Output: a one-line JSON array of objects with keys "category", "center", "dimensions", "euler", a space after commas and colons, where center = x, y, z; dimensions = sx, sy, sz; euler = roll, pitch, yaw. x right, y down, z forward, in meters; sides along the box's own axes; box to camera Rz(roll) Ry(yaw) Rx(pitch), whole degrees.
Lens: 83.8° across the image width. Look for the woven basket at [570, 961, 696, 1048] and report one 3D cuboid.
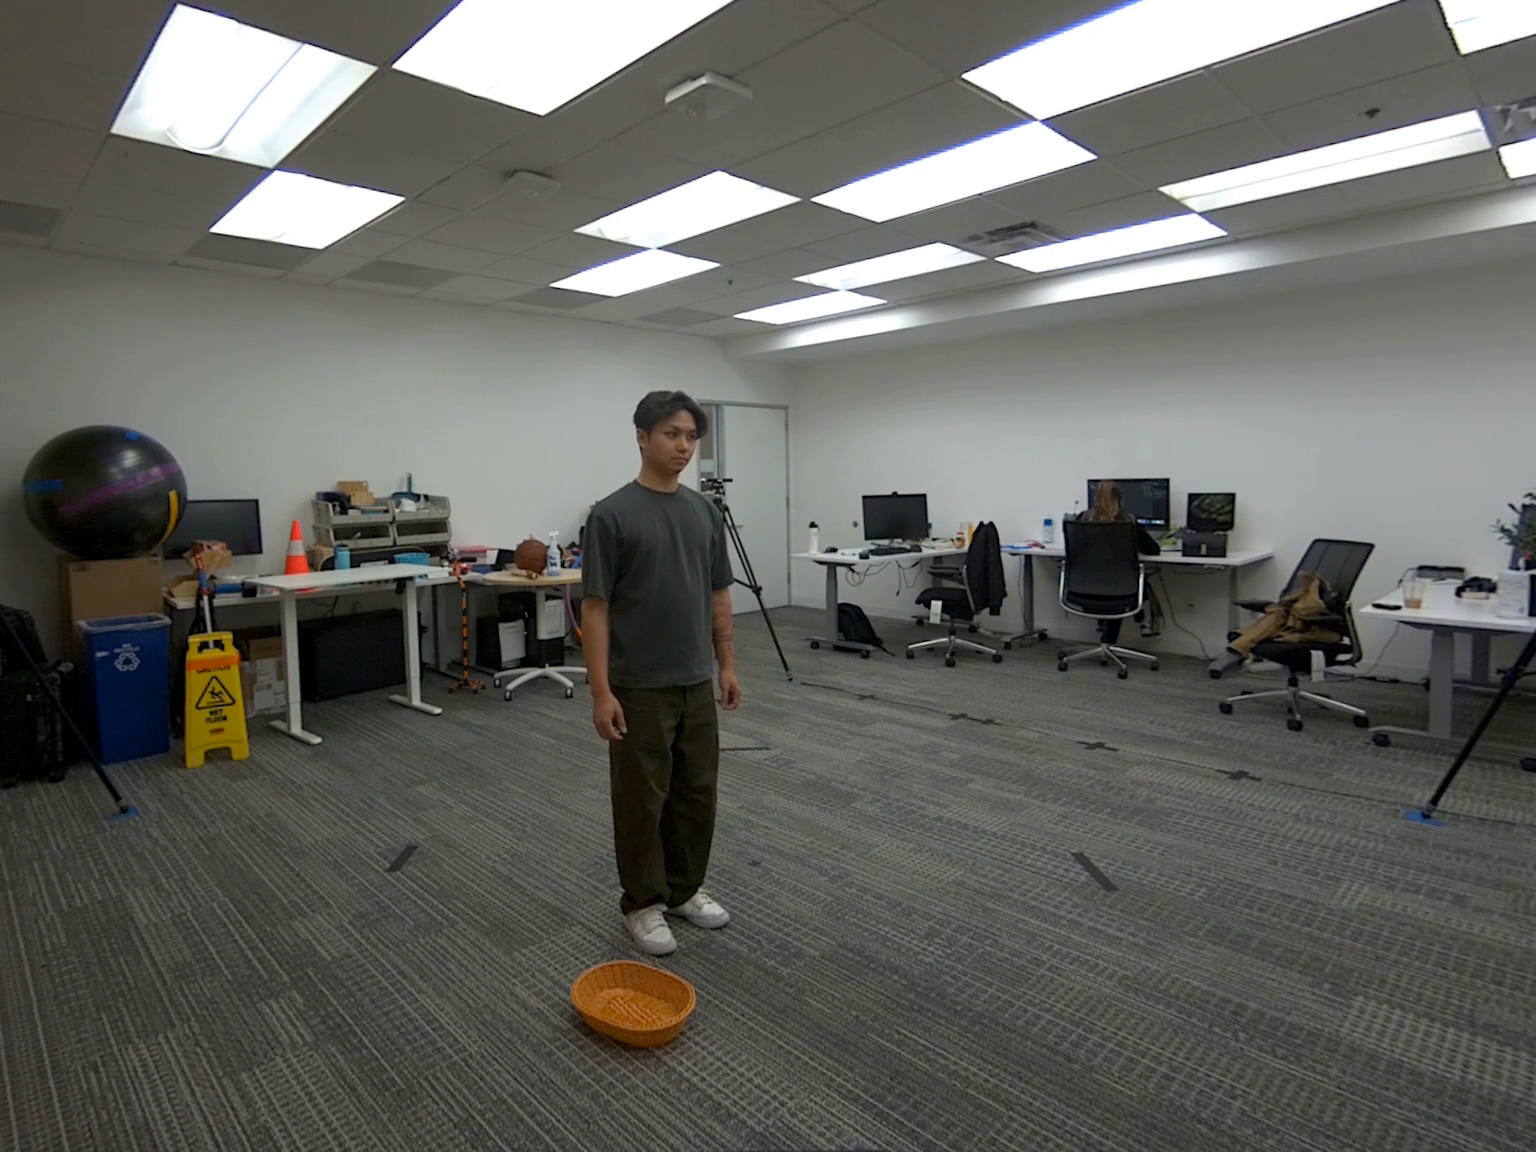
[{"category": "woven basket", "center": [-0.352, 1.124, 2.225], "dimensions": [0.360, 0.073, 0.246], "euler": [3, 8, 35]}]
